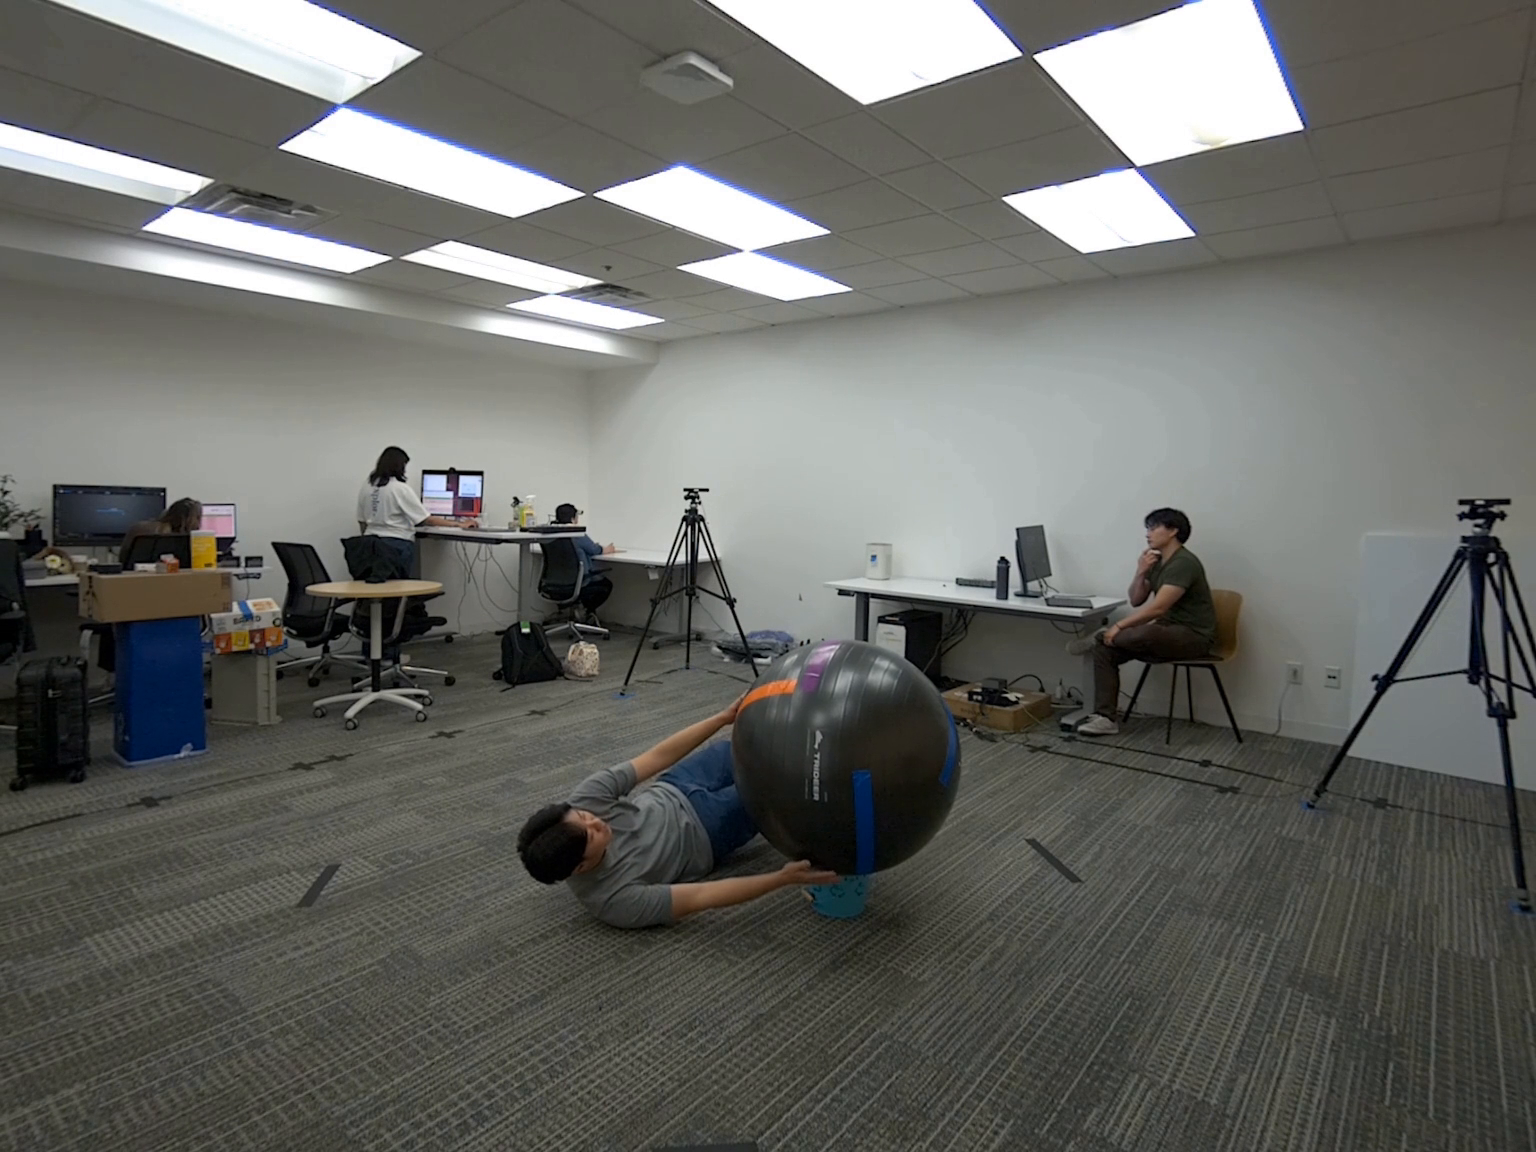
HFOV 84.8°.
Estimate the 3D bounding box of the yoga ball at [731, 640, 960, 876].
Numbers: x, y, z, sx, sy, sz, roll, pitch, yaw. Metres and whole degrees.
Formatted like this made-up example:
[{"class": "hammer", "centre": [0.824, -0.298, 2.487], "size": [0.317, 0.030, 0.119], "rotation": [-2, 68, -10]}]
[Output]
[{"class": "yoga ball", "centre": [0.244, 0.593, 2.838], "size": [0.757, 0.756, 0.762], "rotation": [1, 4, -2]}]
